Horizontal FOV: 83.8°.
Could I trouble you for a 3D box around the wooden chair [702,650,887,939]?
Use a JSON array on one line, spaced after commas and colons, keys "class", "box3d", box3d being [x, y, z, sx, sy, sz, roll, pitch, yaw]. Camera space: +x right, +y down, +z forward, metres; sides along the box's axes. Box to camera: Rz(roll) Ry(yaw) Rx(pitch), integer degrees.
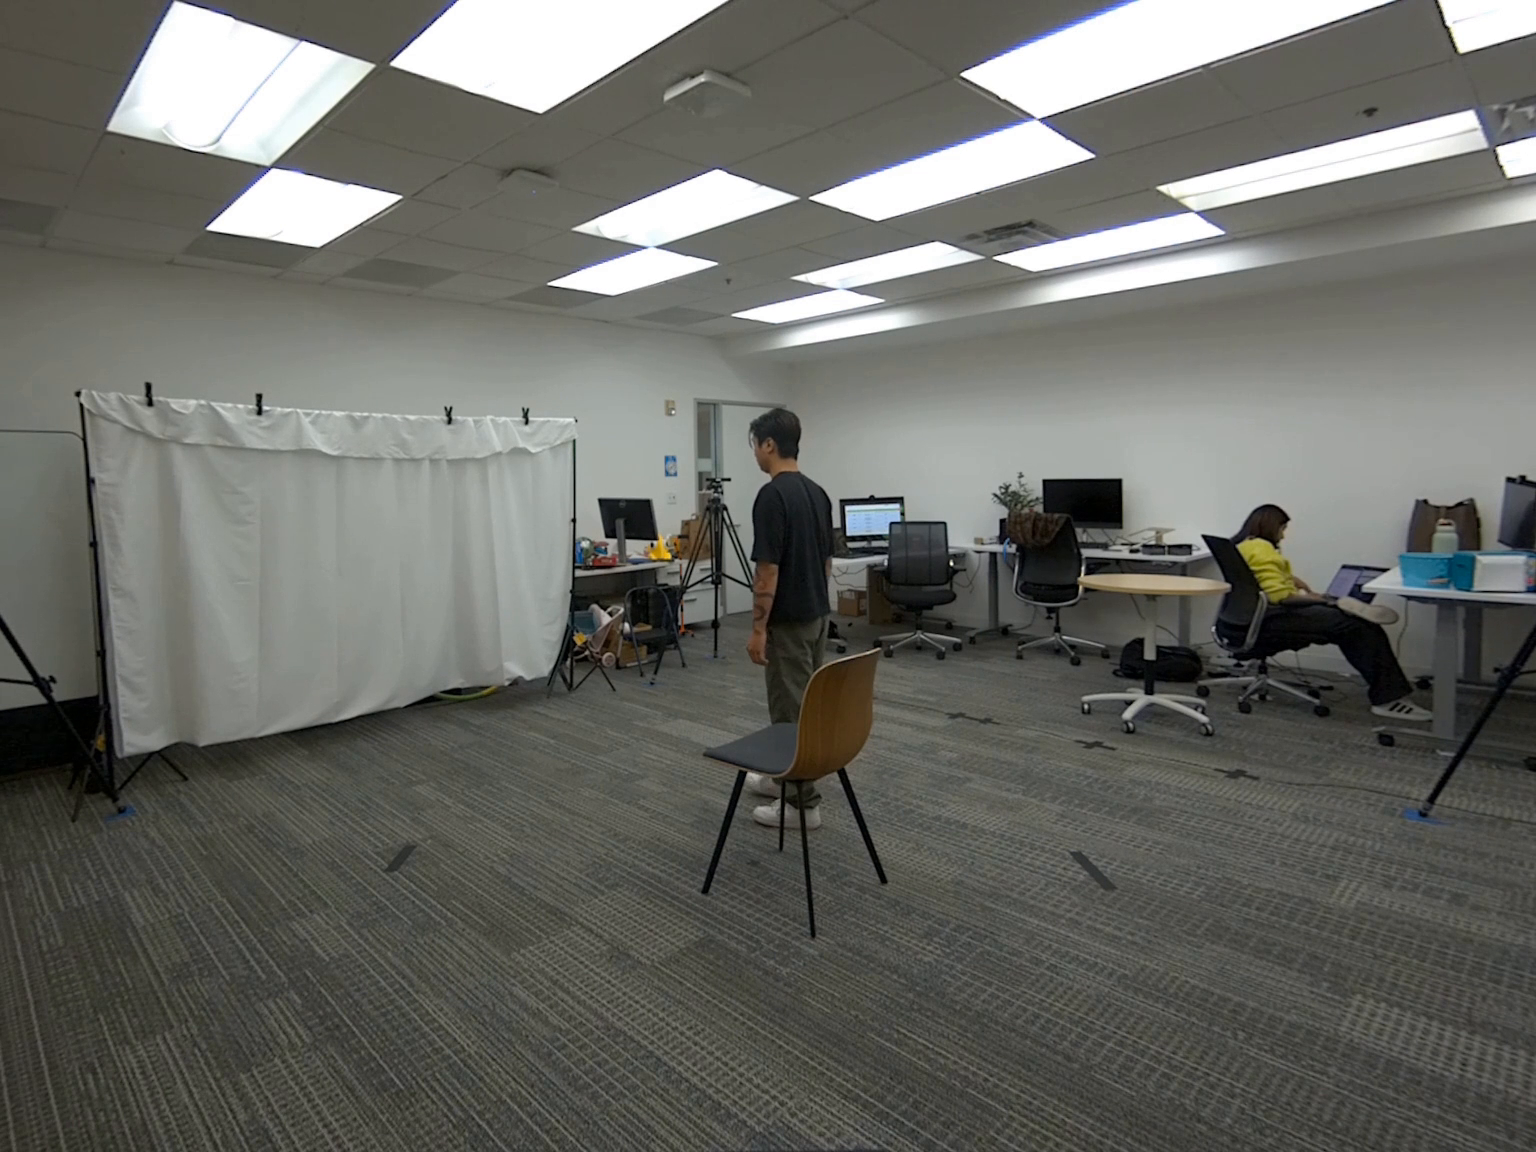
[{"class": "wooden chair", "box3d": [0.079, 0.639, 2.876, 0.540, 0.872, 0.466, 8, 9, 38]}]
